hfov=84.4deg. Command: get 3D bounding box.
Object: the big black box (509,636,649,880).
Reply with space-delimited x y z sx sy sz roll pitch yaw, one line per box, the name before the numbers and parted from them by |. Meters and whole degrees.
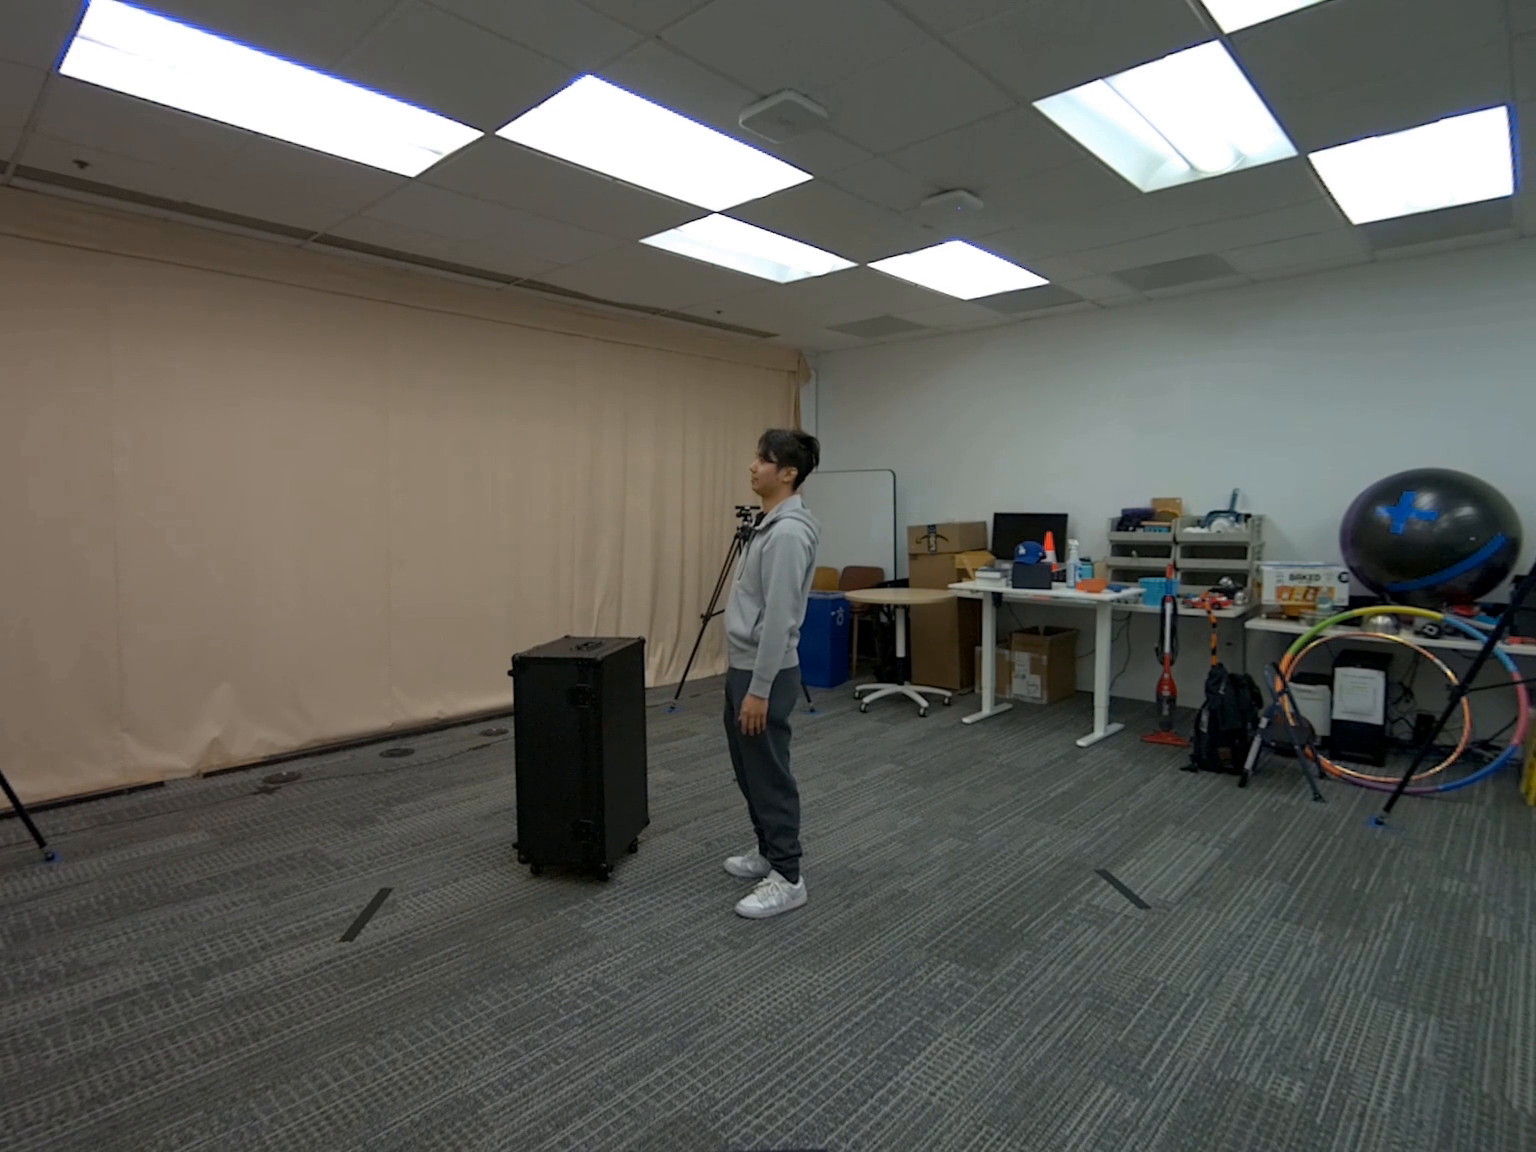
big black box | -0.737 0.702 3.319 0.402 0.860 0.514 -1 3 13
